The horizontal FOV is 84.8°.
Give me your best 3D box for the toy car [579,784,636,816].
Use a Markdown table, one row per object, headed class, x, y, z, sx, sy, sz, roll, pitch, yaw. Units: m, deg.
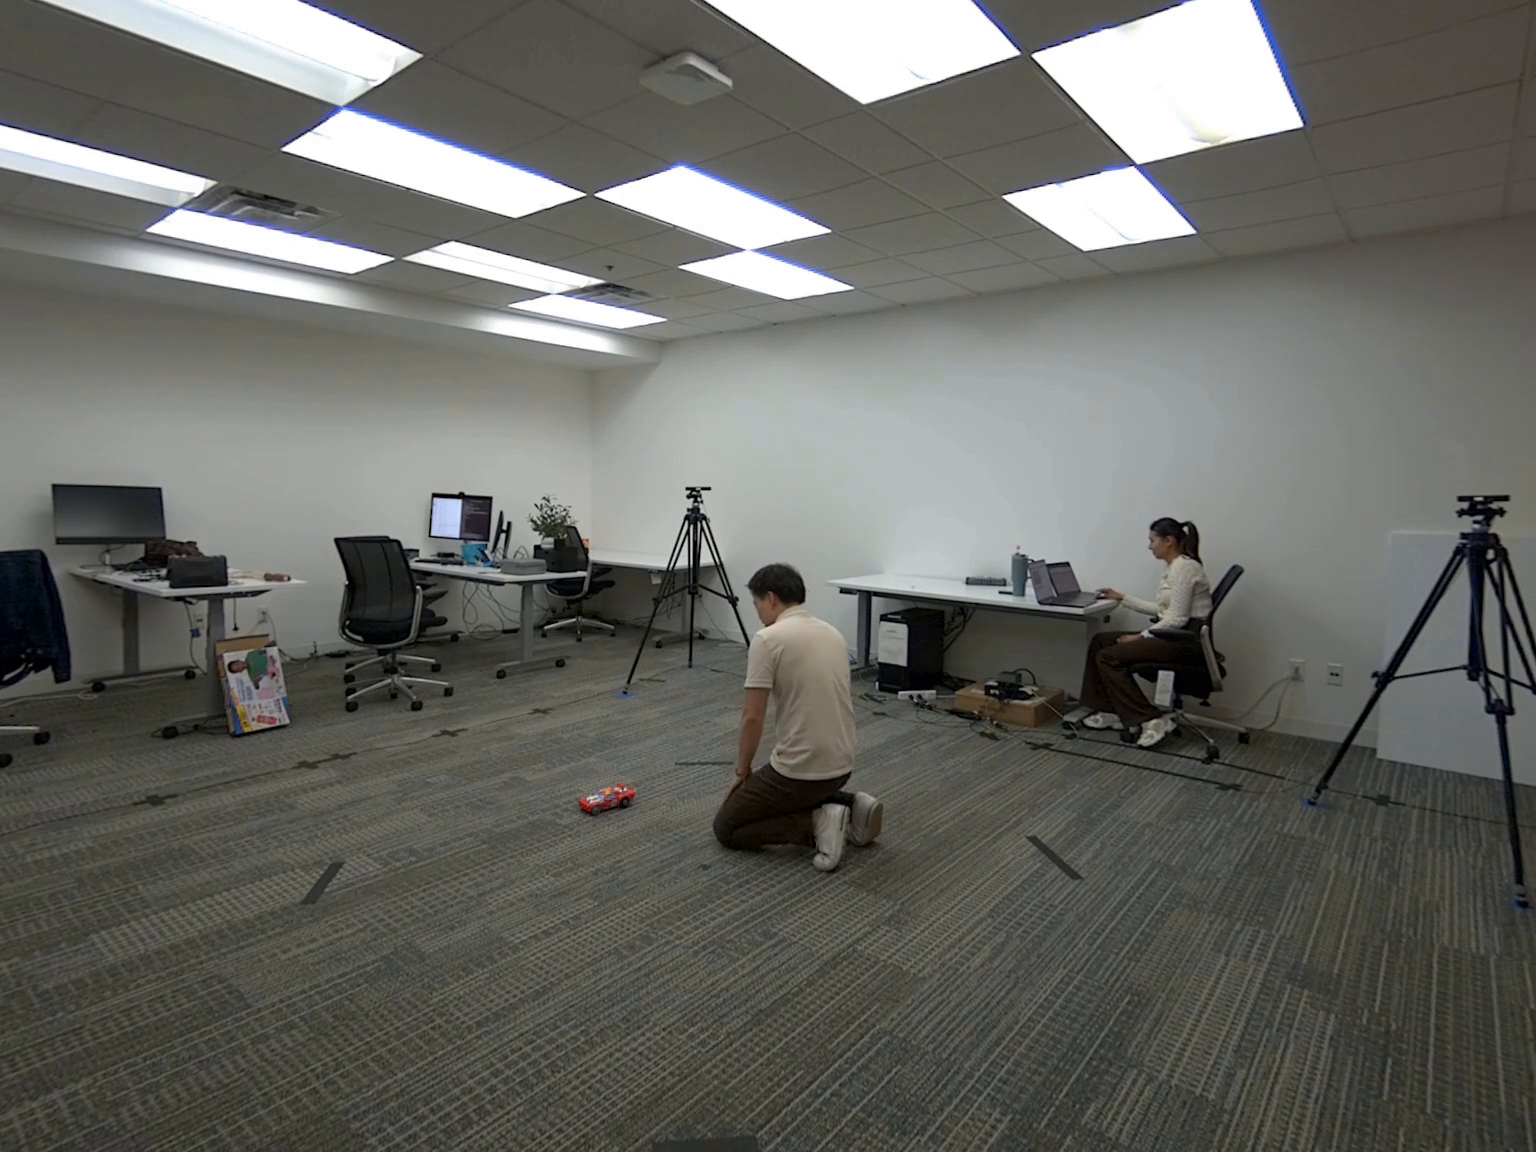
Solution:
| class | x | y | z | sx | sy | sz | roll | pitch | yaw |
| --- | --- | --- | --- | --- | --- | --- | --- | --- | --- |
| toy car | -0.707 | 0.969 | 3.705 | 0.249 | 0.082 | 0.134 | -18 | 14 | -37 |
